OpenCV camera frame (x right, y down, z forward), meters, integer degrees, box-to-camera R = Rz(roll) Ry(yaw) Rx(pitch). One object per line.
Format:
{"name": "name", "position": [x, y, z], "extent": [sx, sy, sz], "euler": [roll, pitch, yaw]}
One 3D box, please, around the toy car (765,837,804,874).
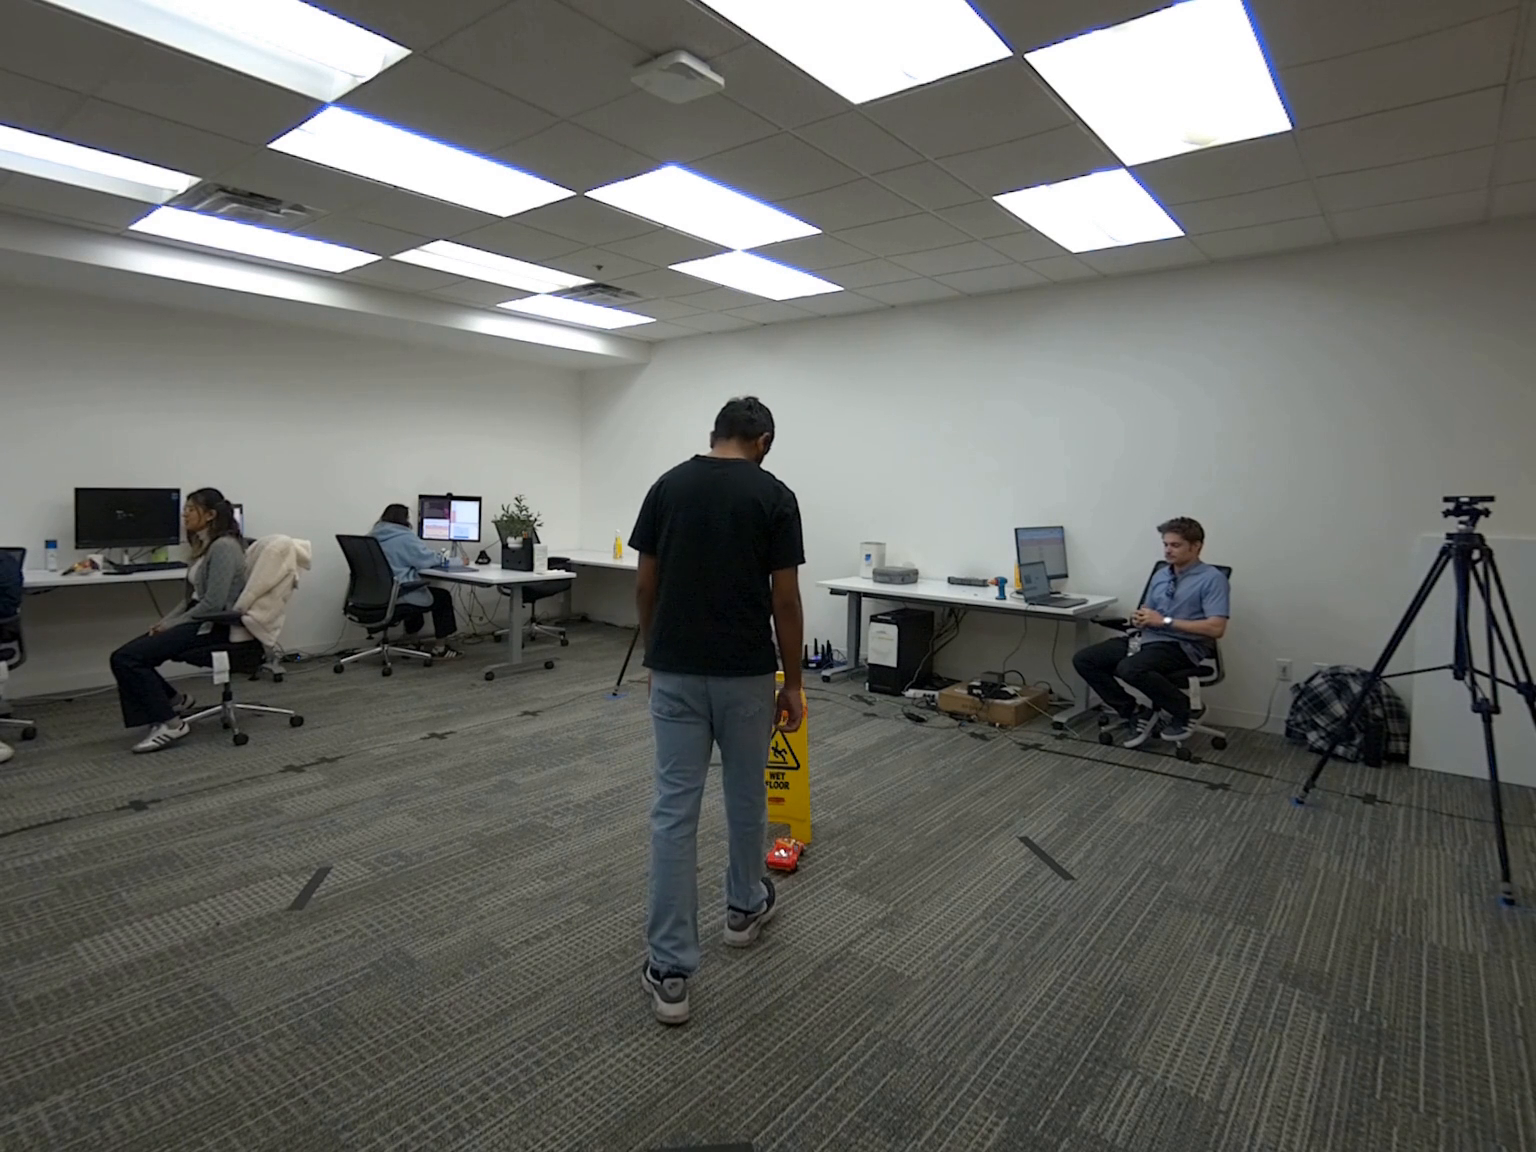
{"name": "toy car", "position": [0.054, 1.034, 3.172], "extent": [0.132, 0.084, 0.249], "euler": [4, -5, 12]}
